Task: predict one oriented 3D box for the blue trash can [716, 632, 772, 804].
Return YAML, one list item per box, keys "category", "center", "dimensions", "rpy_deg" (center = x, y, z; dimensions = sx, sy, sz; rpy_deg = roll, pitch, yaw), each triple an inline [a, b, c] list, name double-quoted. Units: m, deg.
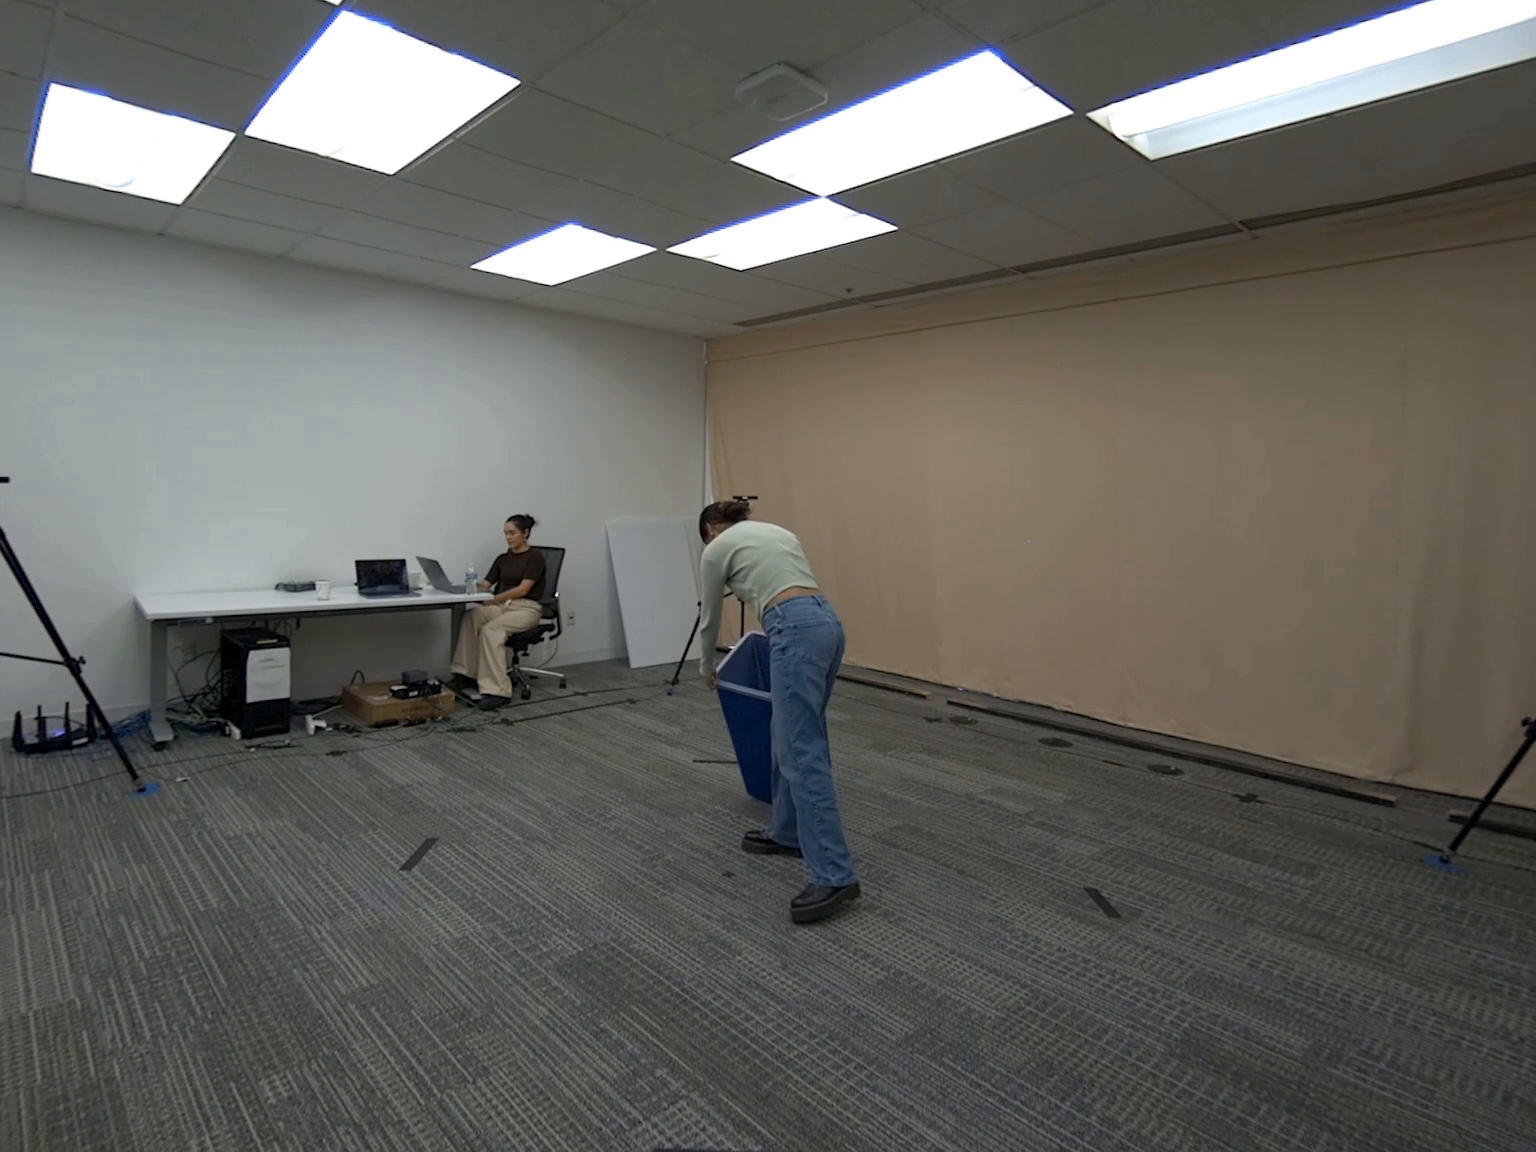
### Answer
- category: "blue trash can"
  center: [0.031, 0.664, 3.736]
  dimensions: [0.387, 0.697, 0.373]
  rpy_deg: [9, 35, 31]
